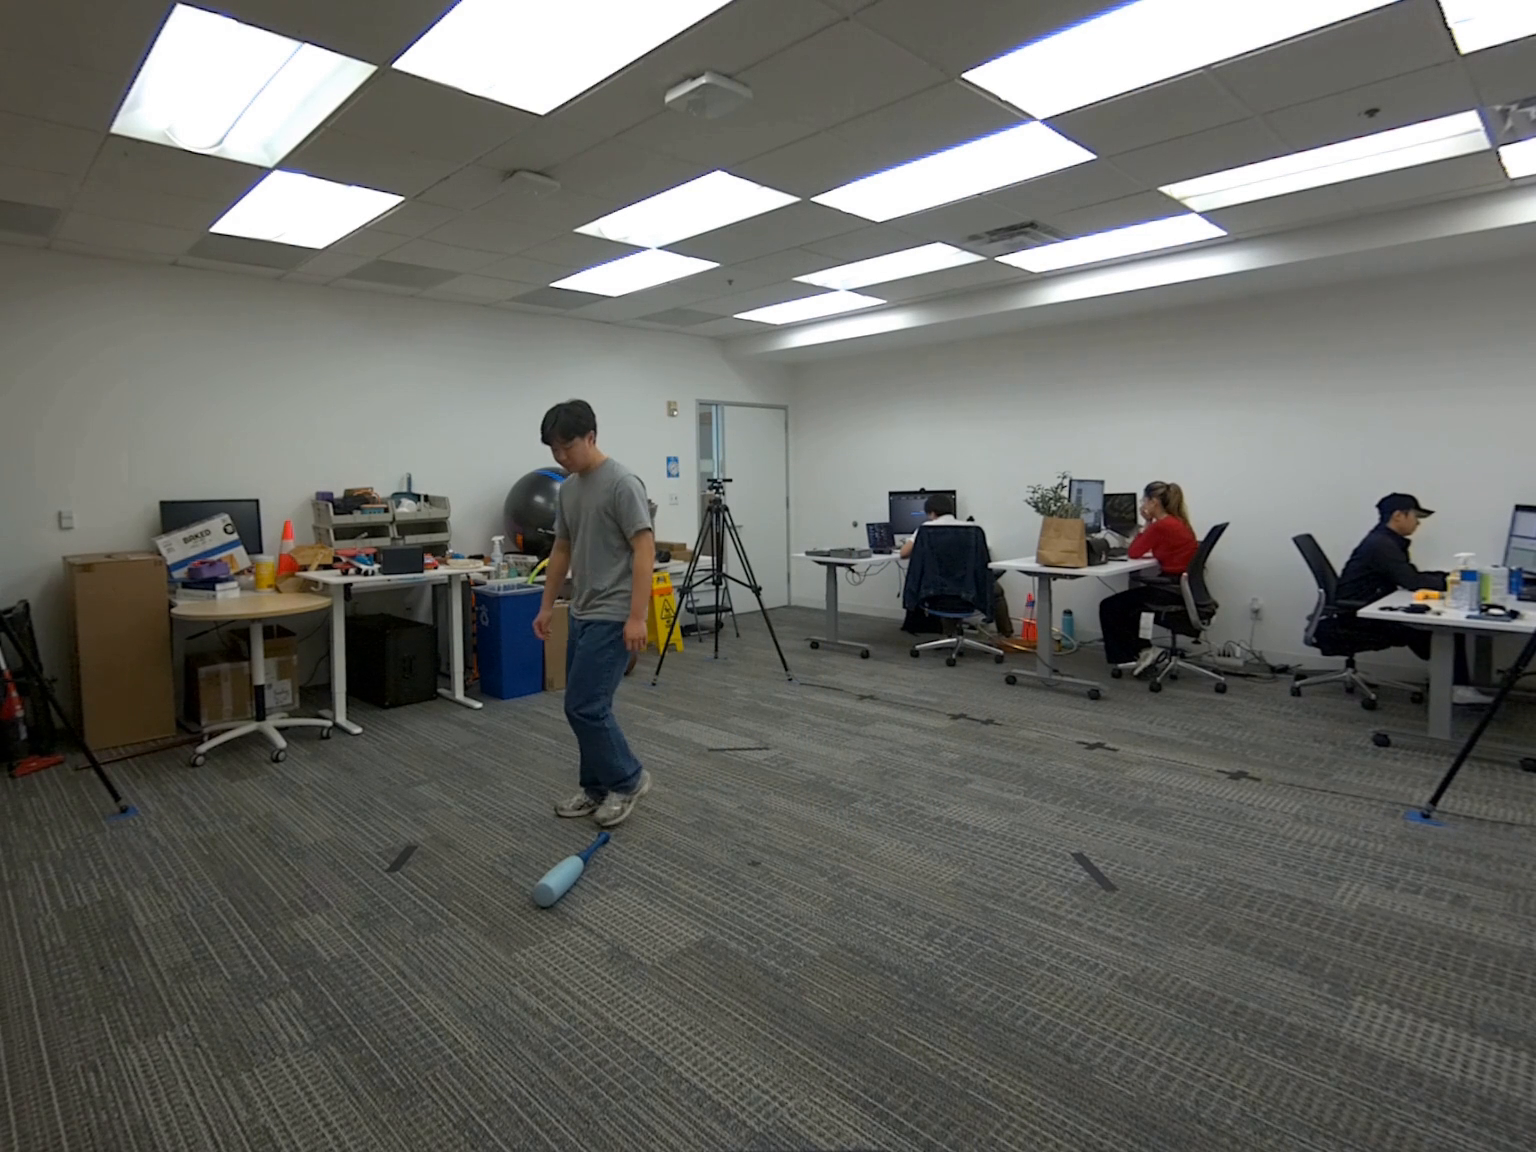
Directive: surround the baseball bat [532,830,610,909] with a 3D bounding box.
[{"bbox_3d":[-0.687,1.032,3.051,0.090,0.089,0.538,0,4,9],"label":"baseball bat"}]
